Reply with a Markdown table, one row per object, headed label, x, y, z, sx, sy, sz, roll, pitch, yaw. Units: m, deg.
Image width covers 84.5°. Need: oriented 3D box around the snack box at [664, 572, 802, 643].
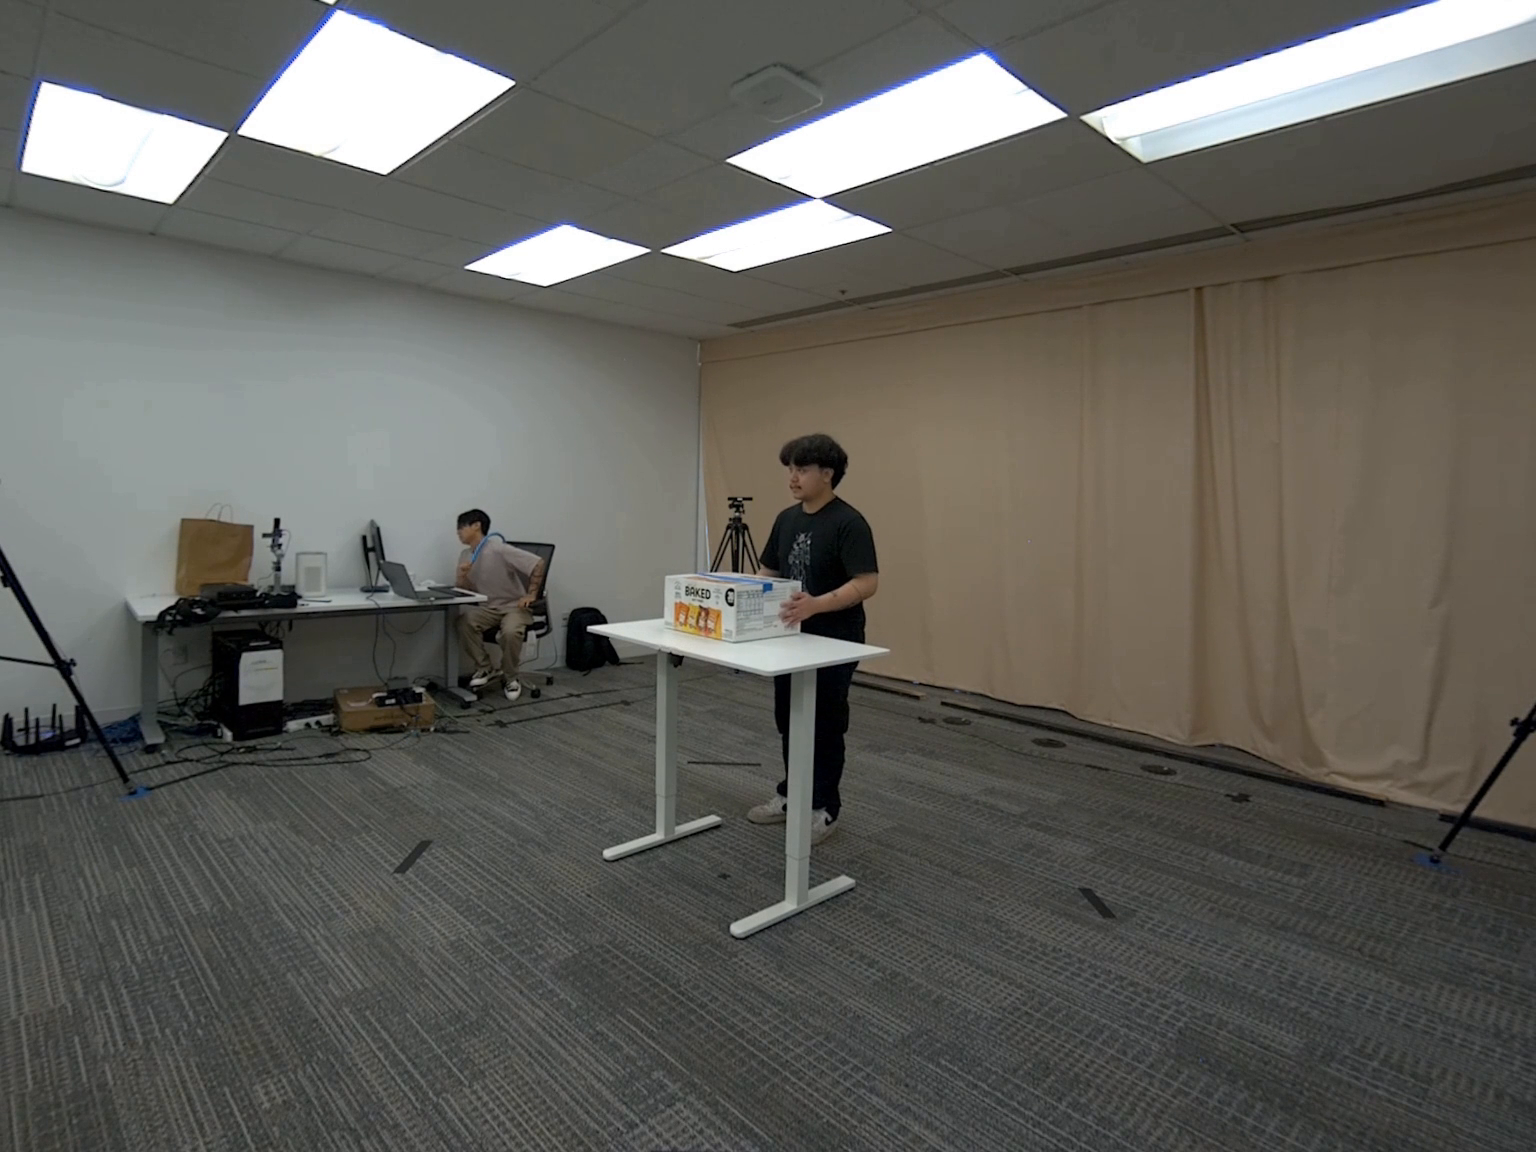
| label | x | y | z | sx | sy | sz | roll | pitch | yaw |
| --- | --- | --- | --- | --- | --- | --- | --- | --- | --- |
| snack box | -0.141 | 0.109 | 3.214 | 0.333 | 0.205 | 0.416 | -4 | 8 | -43 |
